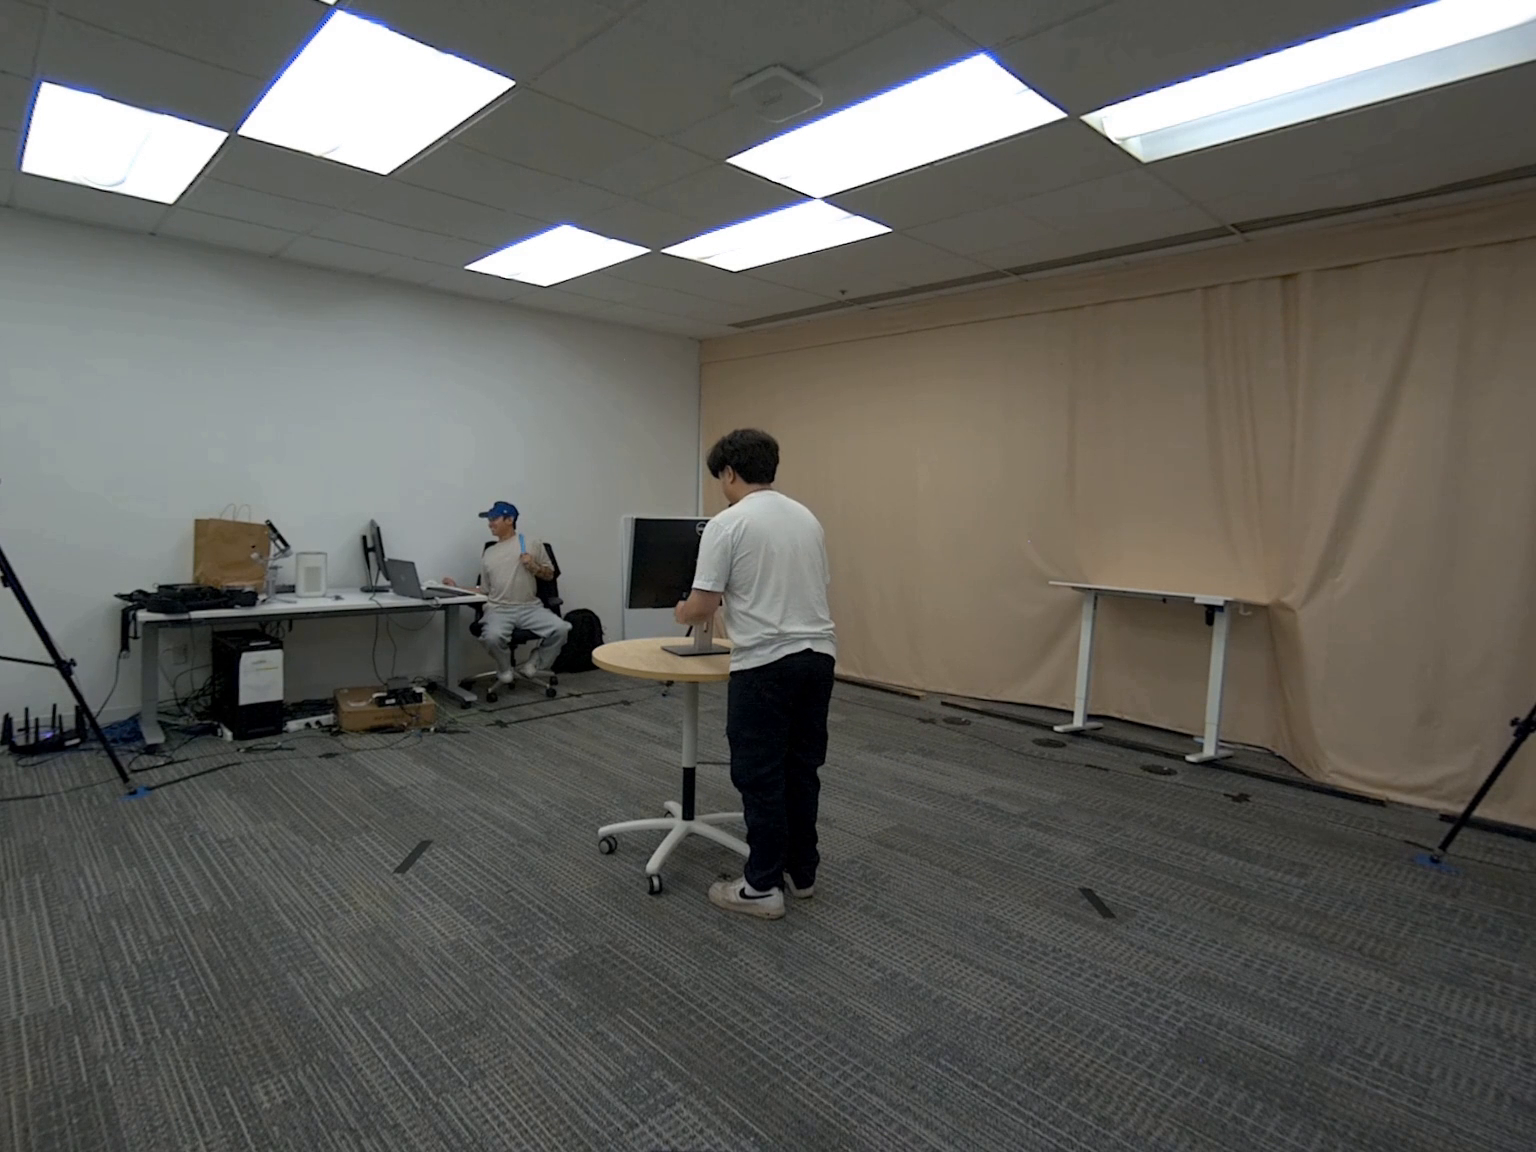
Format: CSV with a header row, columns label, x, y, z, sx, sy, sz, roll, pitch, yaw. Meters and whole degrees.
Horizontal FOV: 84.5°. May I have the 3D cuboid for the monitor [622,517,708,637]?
label,x,y,z,sx,sy,sz,roll,pitch,yaw
monitor,-0.262,0.045,3.272,0.554,0.551,0.215,-1,8,-29
